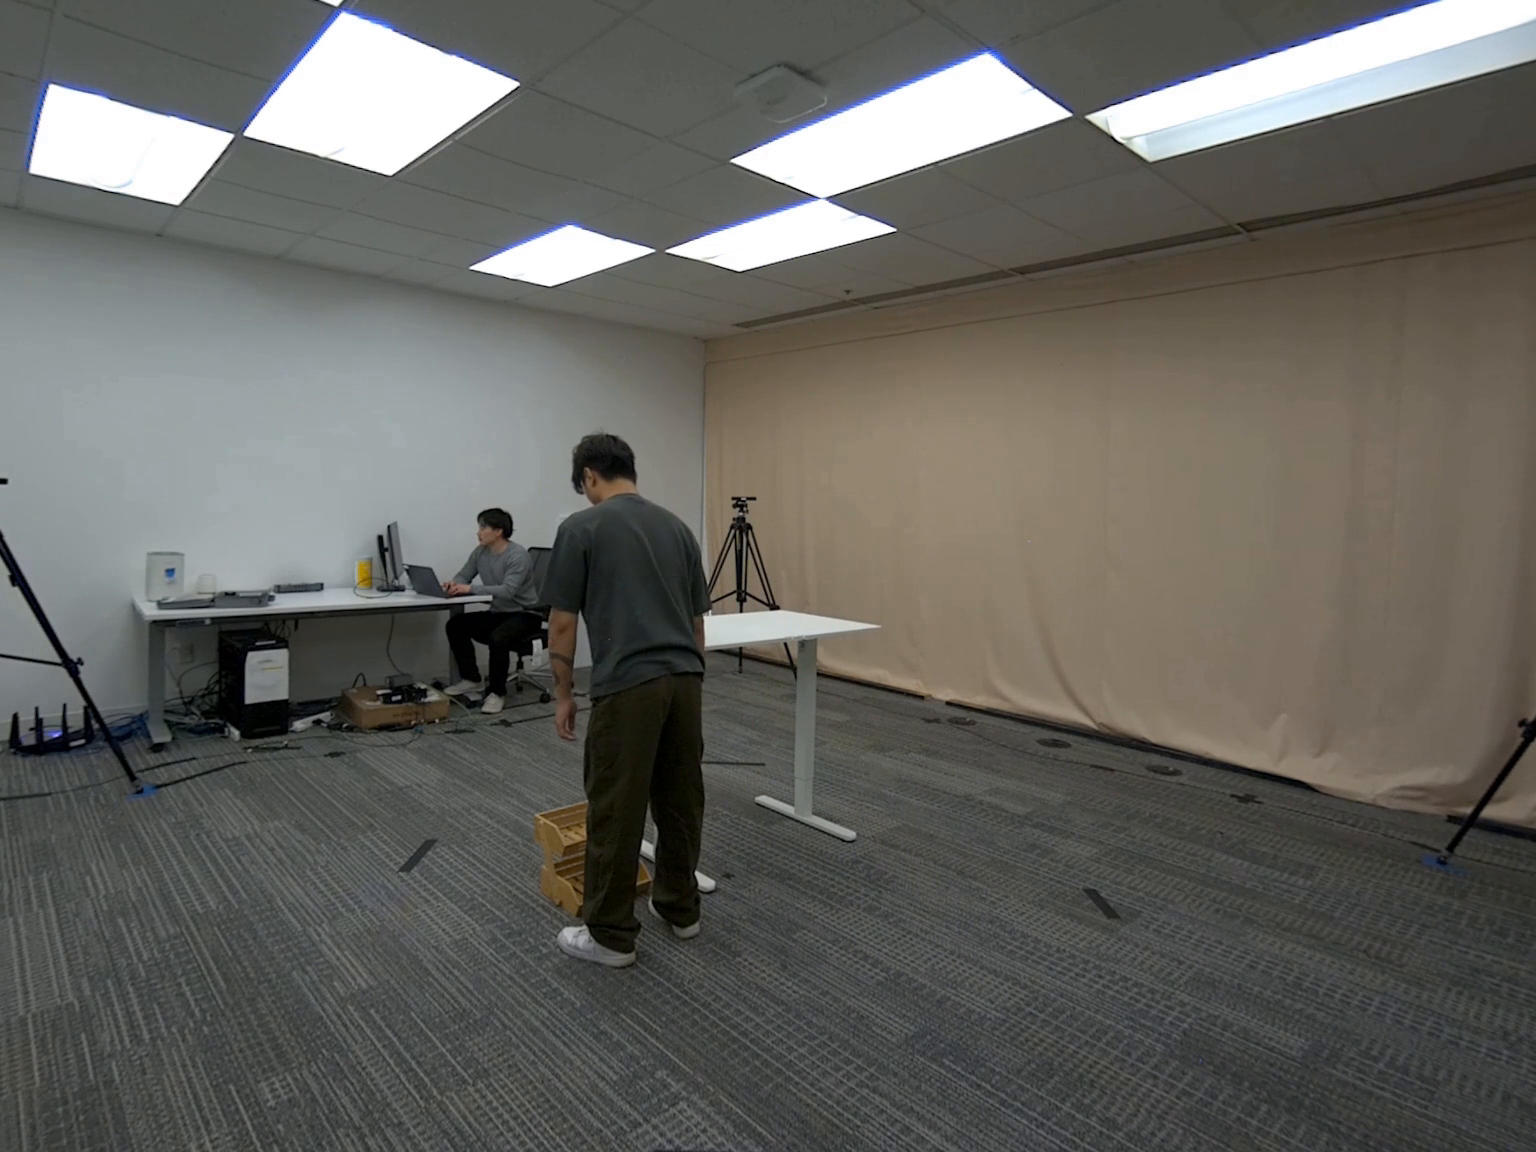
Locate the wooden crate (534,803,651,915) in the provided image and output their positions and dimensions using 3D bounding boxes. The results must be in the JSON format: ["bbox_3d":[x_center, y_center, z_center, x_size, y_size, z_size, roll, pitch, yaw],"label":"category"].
[{"bbox_3d":[-0.622,0.977,2.963,0.317,0.272,0.310,-3,6,-43],"label":"wooden crate"}]
